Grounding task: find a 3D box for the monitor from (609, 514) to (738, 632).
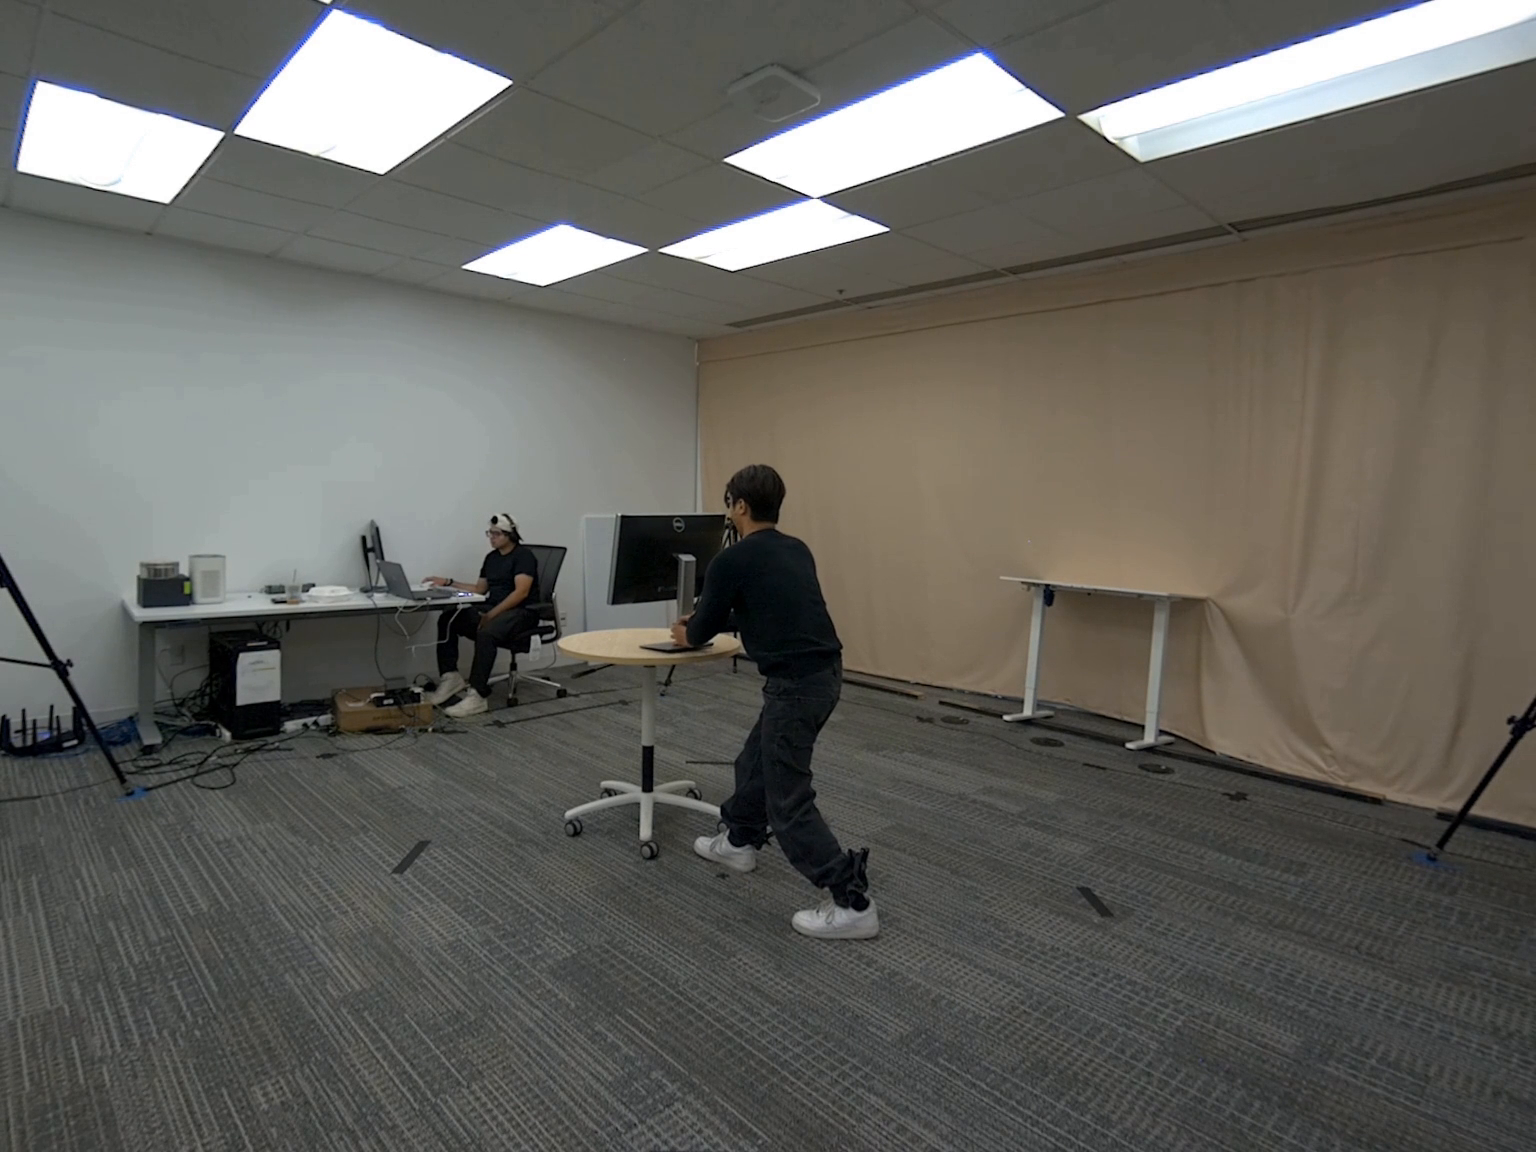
[{"bbox_3d":[-0.384,0.018,3.408,0.191,0.522,0.527,0,2,43],"label":"monitor"}]
